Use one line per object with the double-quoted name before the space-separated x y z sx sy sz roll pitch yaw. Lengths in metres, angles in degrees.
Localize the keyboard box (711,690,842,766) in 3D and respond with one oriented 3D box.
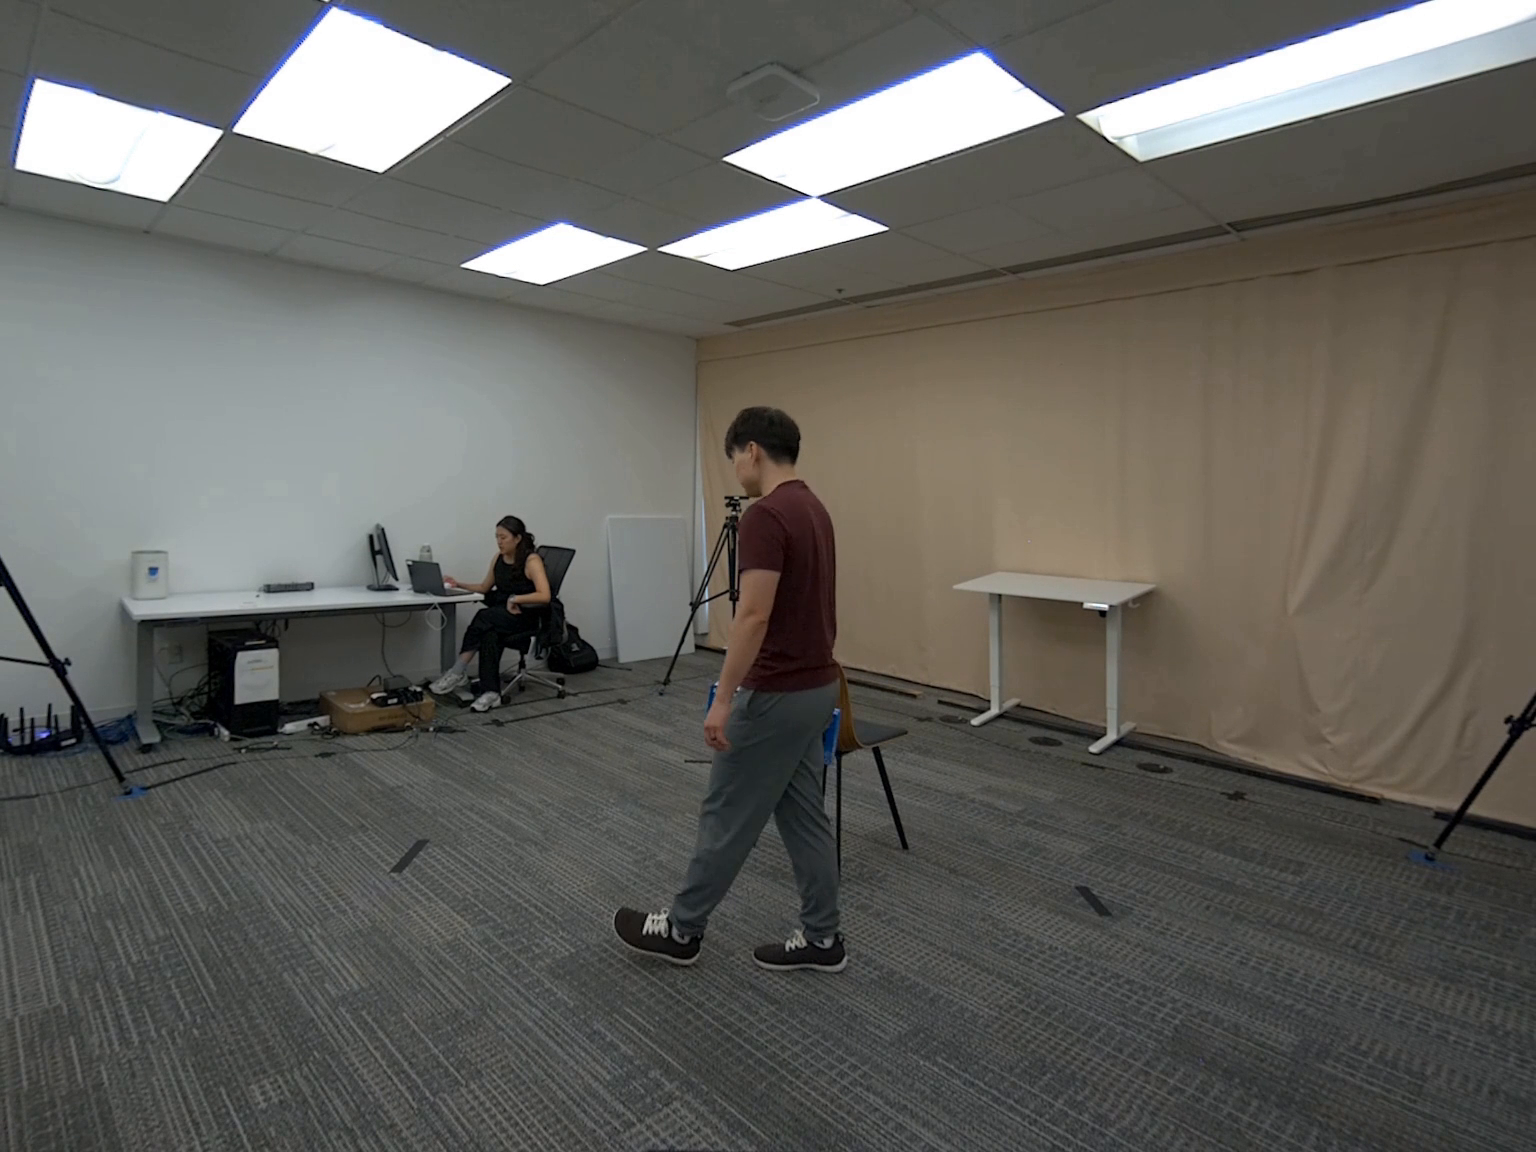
"keyboard box" 0.013 0.483 2.765 0.444 0.175 0.058 10 6 19
